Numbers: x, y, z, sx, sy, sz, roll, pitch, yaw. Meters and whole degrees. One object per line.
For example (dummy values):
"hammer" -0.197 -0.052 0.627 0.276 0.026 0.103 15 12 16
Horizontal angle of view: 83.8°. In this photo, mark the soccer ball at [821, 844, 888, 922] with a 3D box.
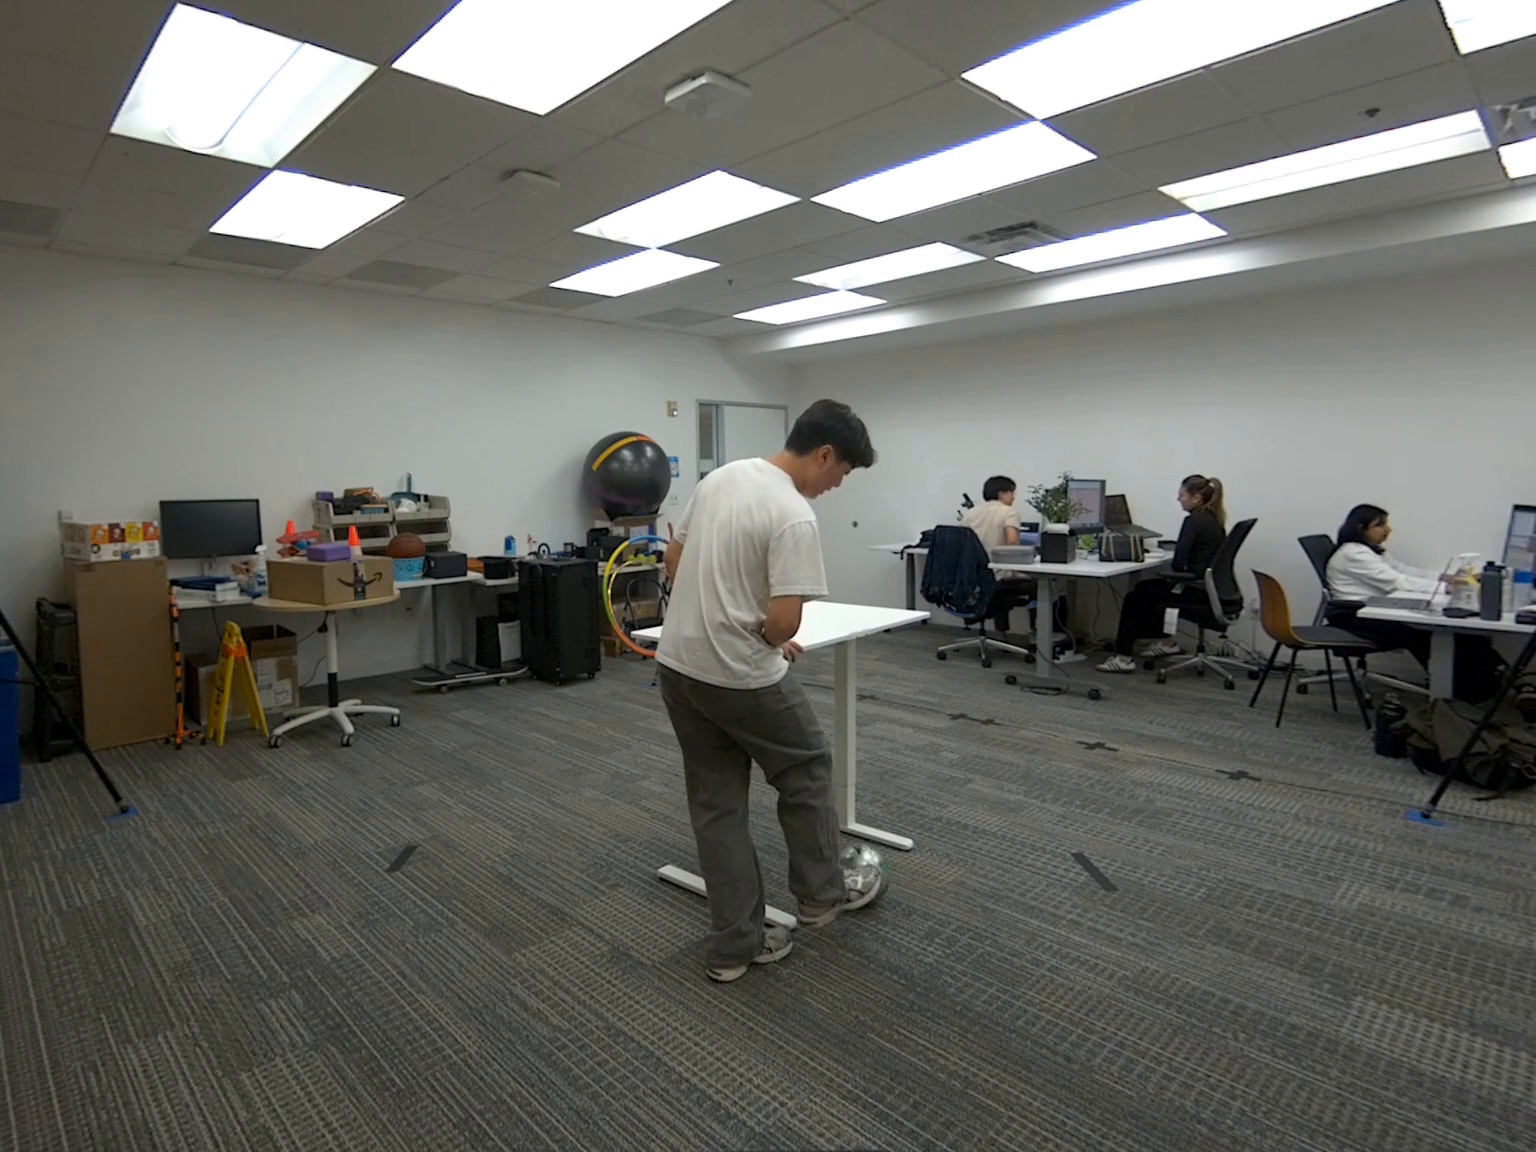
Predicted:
"soccer ball" 0.308 0.974 2.830 0.187 0.187 0.188 -1 5 -2
